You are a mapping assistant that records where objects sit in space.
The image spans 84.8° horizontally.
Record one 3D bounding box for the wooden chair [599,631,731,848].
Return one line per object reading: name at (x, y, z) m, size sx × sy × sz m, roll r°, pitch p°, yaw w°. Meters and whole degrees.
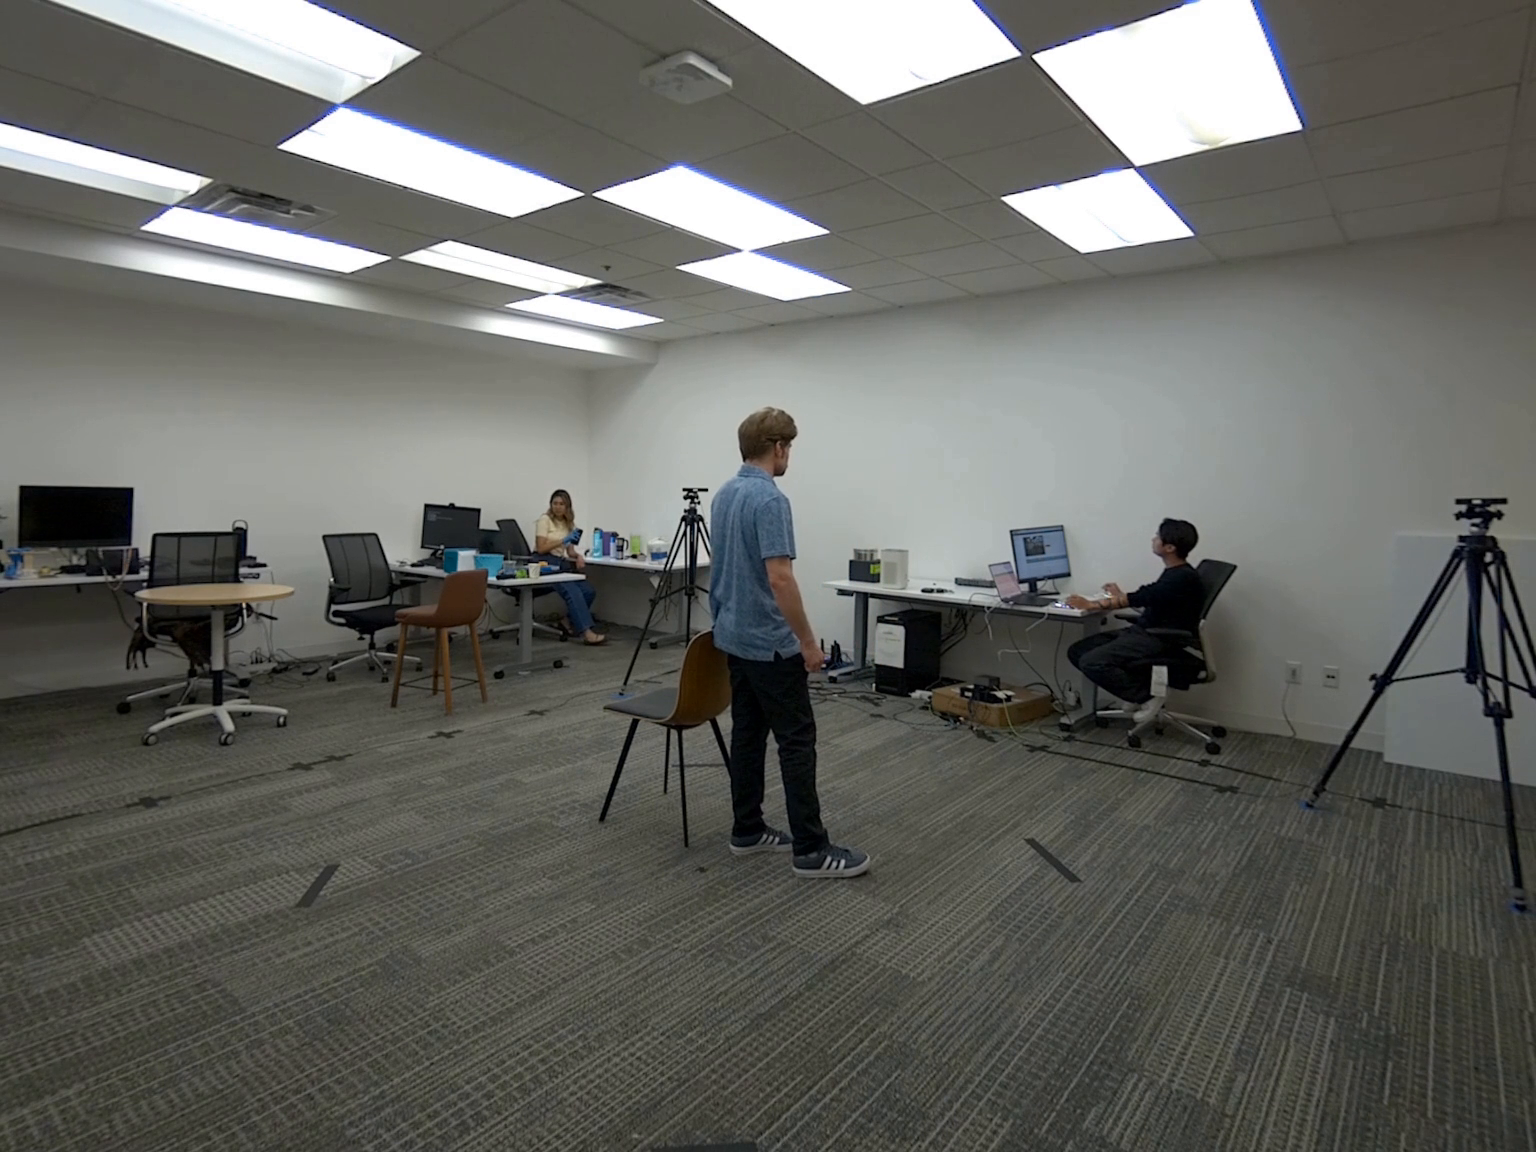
wooden chair at (-0.409, 0.594, 3.575) m, size 0.540 × 0.873 × 0.465 m, roll 8°, pitch 7°, yaw 31°
